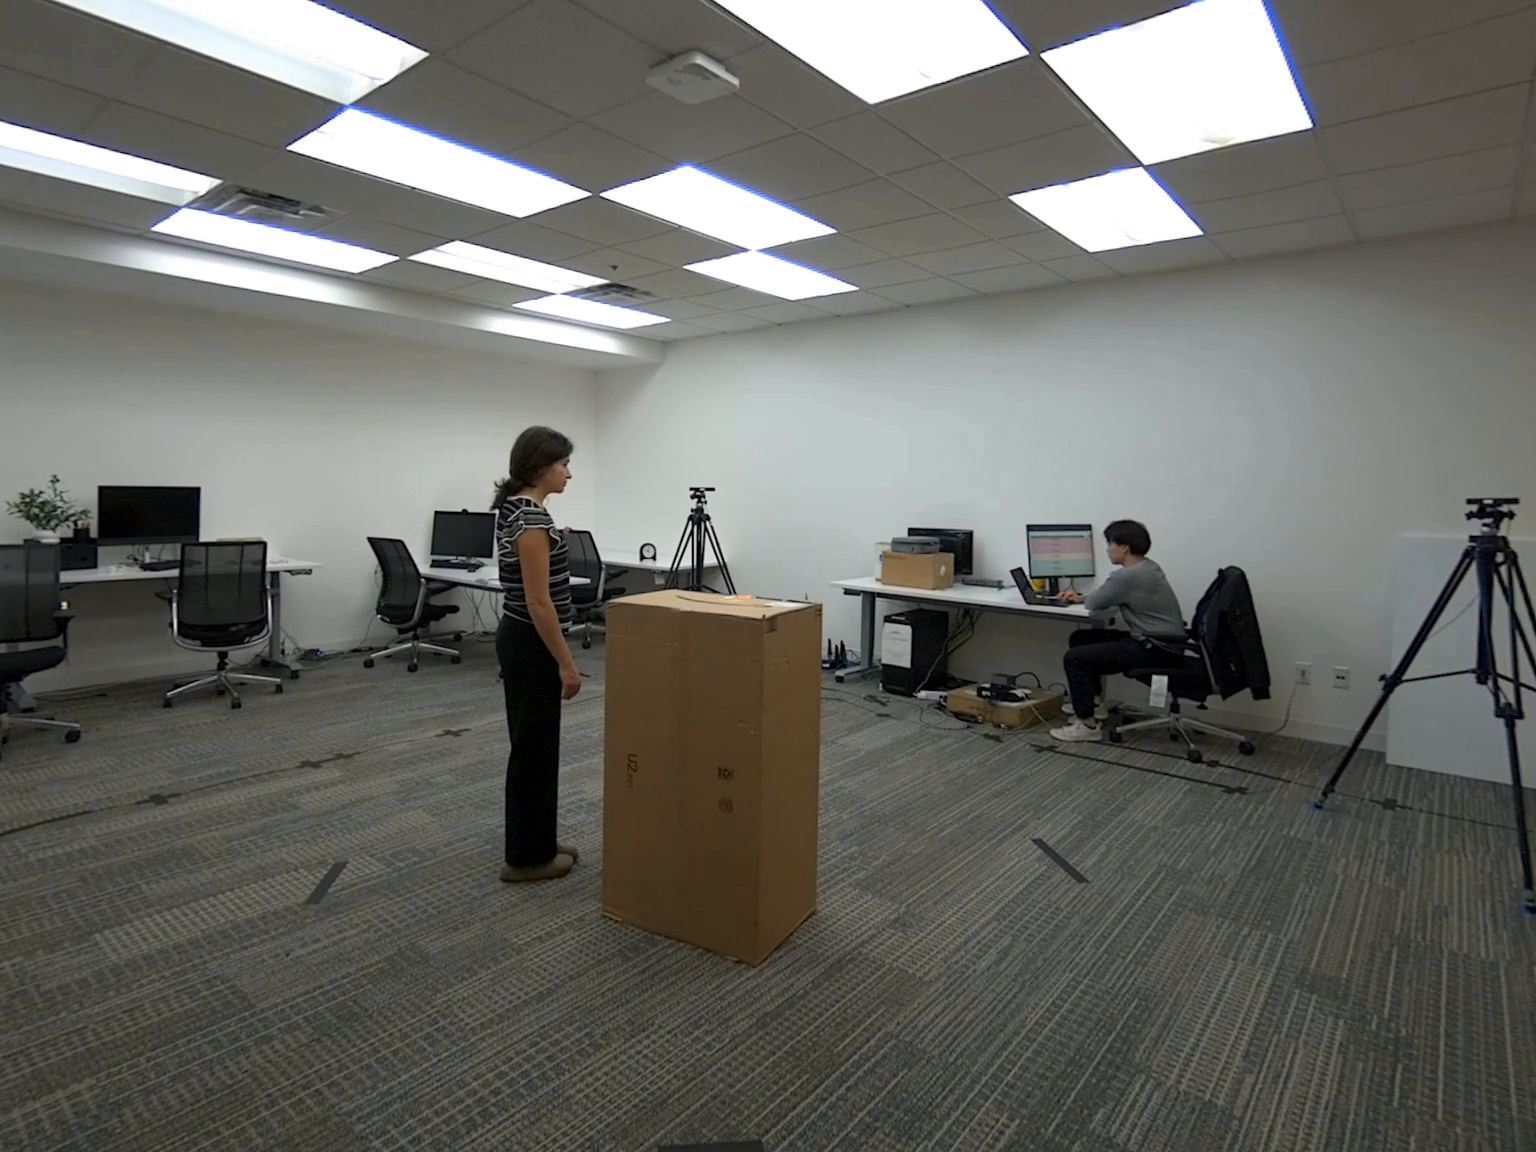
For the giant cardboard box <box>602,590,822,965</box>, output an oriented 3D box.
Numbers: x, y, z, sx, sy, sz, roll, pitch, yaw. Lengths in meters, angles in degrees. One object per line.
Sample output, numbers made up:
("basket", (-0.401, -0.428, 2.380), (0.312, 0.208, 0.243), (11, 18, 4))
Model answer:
("giant cardboard box", (-0.188, 0.593, 2.766), (0.594, 1.023, 0.415), (3, 3, 29))
